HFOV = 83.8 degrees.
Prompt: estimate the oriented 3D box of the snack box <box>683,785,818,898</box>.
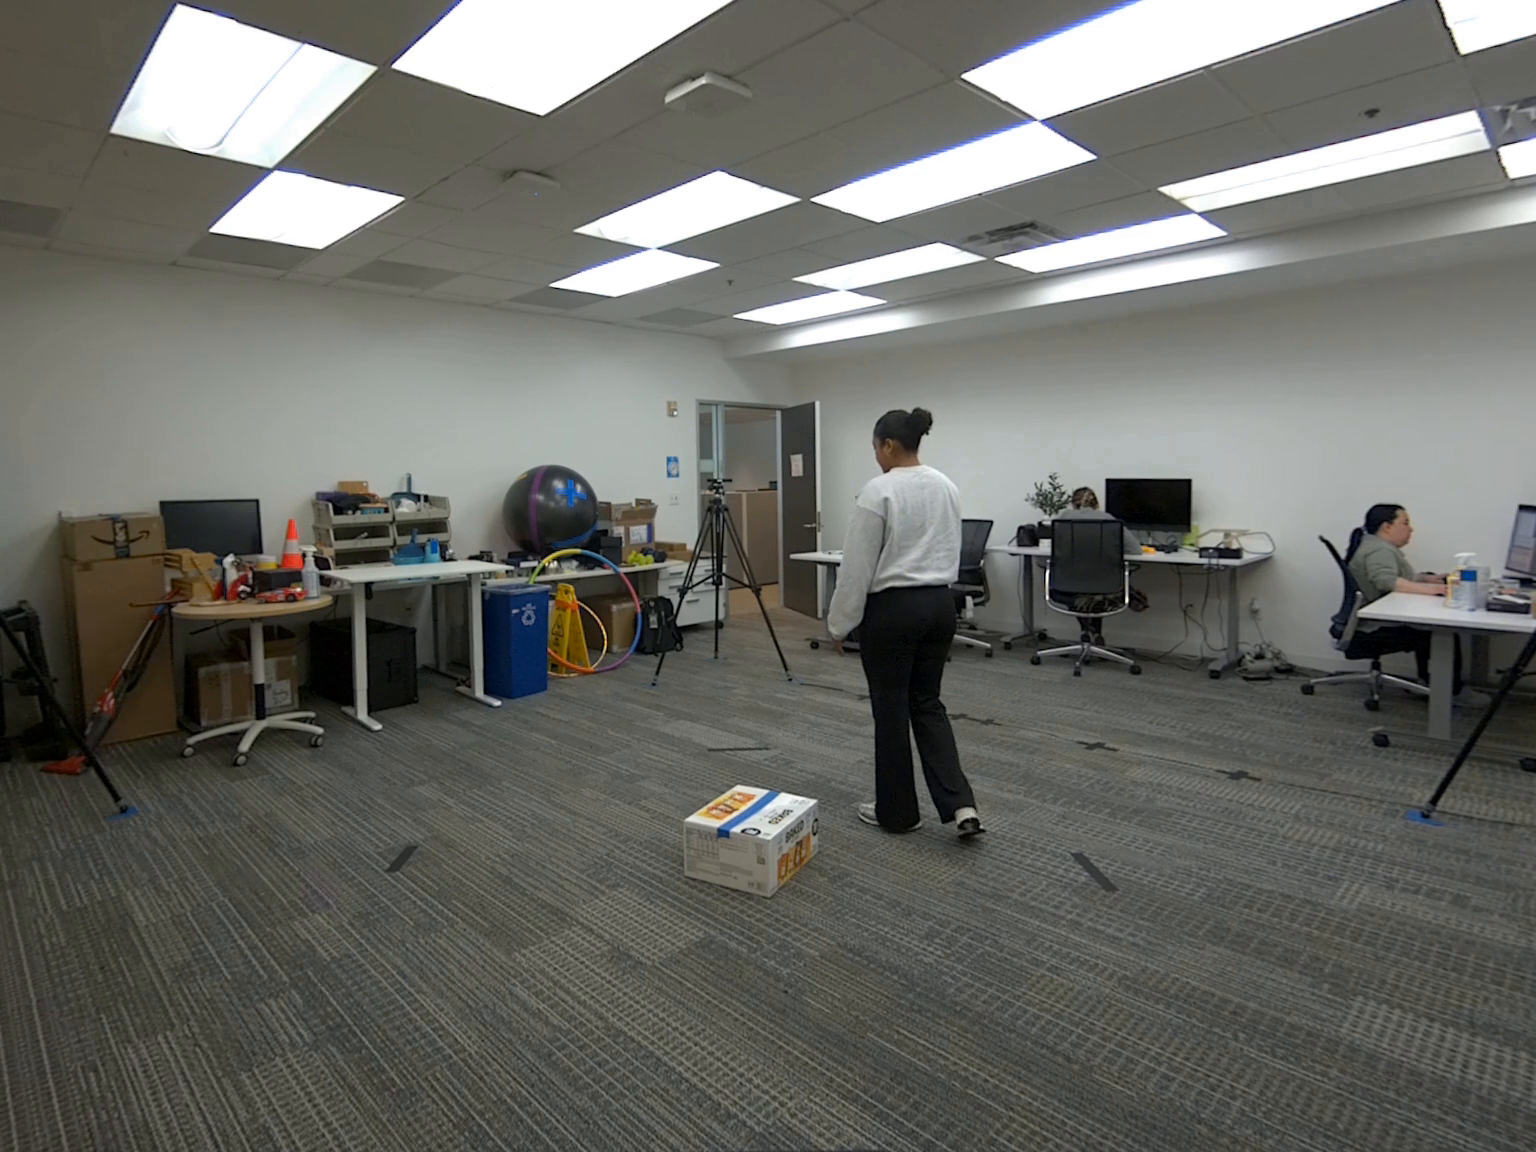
[{"bbox_3d":[-0.053,0.946,3.091,0.349,0.205,0.397,2,6,28],"label":"snack box"}]
